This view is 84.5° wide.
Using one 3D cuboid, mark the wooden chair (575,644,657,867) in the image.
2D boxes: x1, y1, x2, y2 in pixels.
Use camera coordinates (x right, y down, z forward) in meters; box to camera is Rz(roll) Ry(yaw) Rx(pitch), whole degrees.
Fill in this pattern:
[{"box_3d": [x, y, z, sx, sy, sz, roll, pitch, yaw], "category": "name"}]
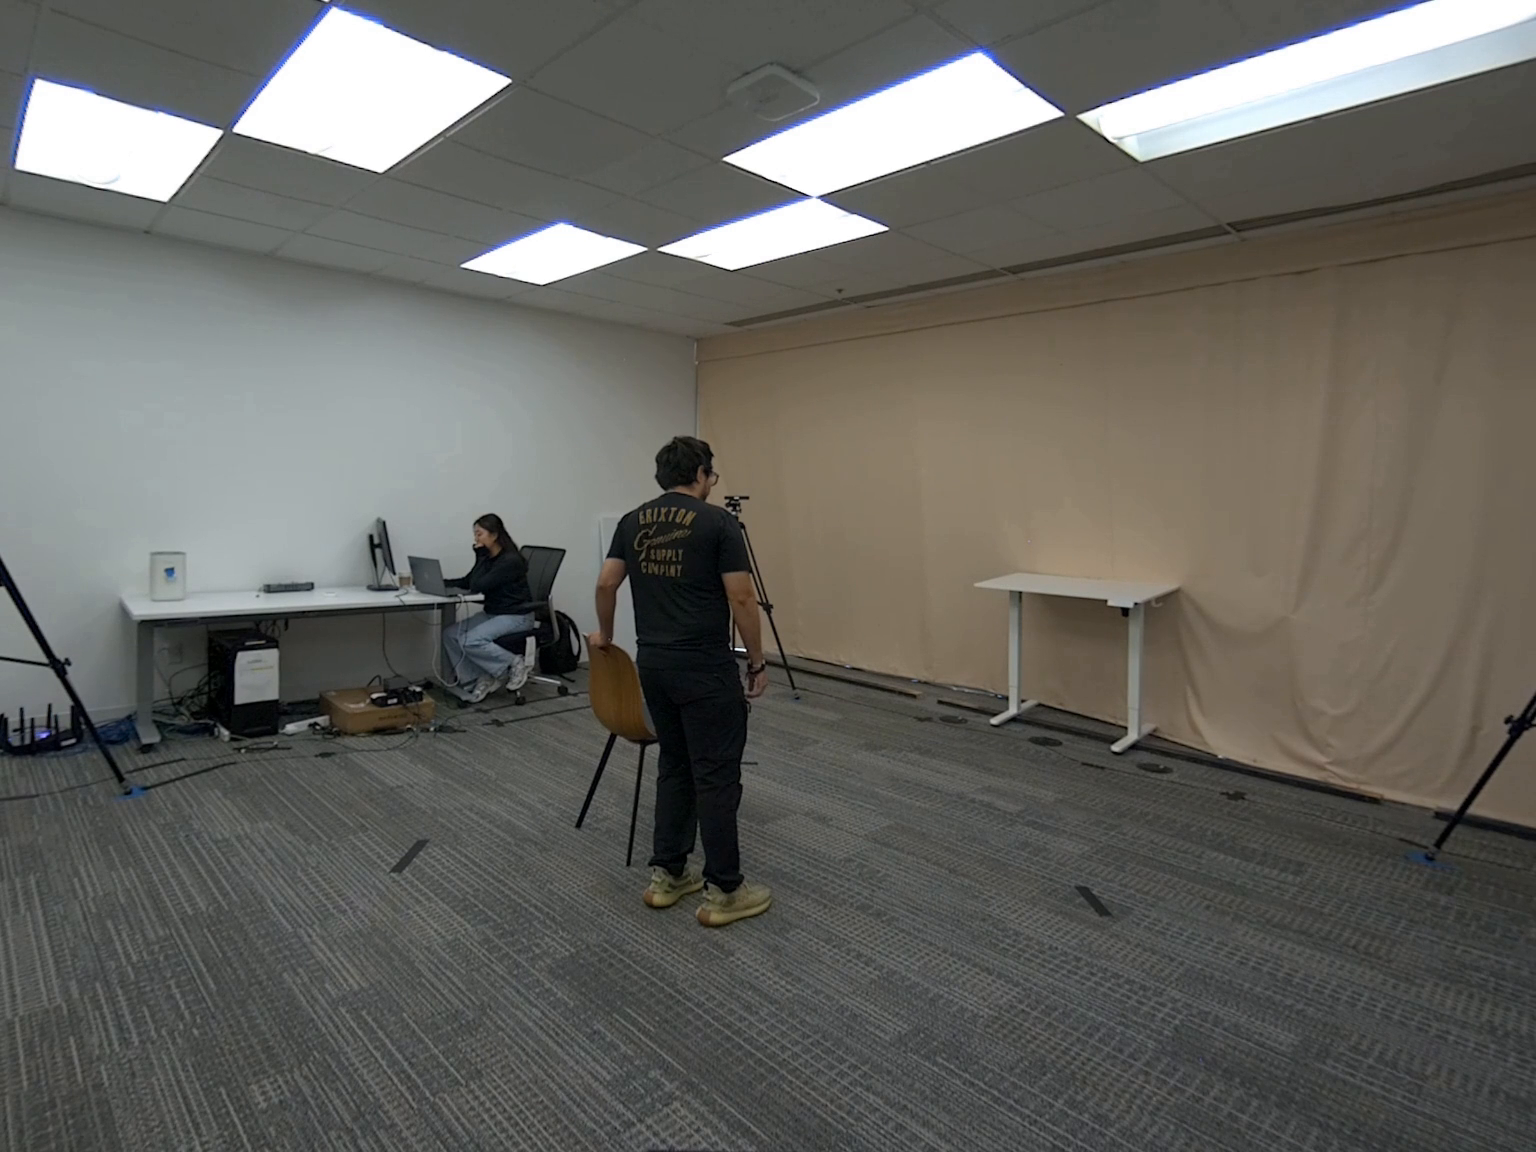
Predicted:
[{"box_3d": [-0.479, 0.640, 3.446, 0.512, 0.873, 0.490, -6, 8, -37], "category": "wooden chair"}]
